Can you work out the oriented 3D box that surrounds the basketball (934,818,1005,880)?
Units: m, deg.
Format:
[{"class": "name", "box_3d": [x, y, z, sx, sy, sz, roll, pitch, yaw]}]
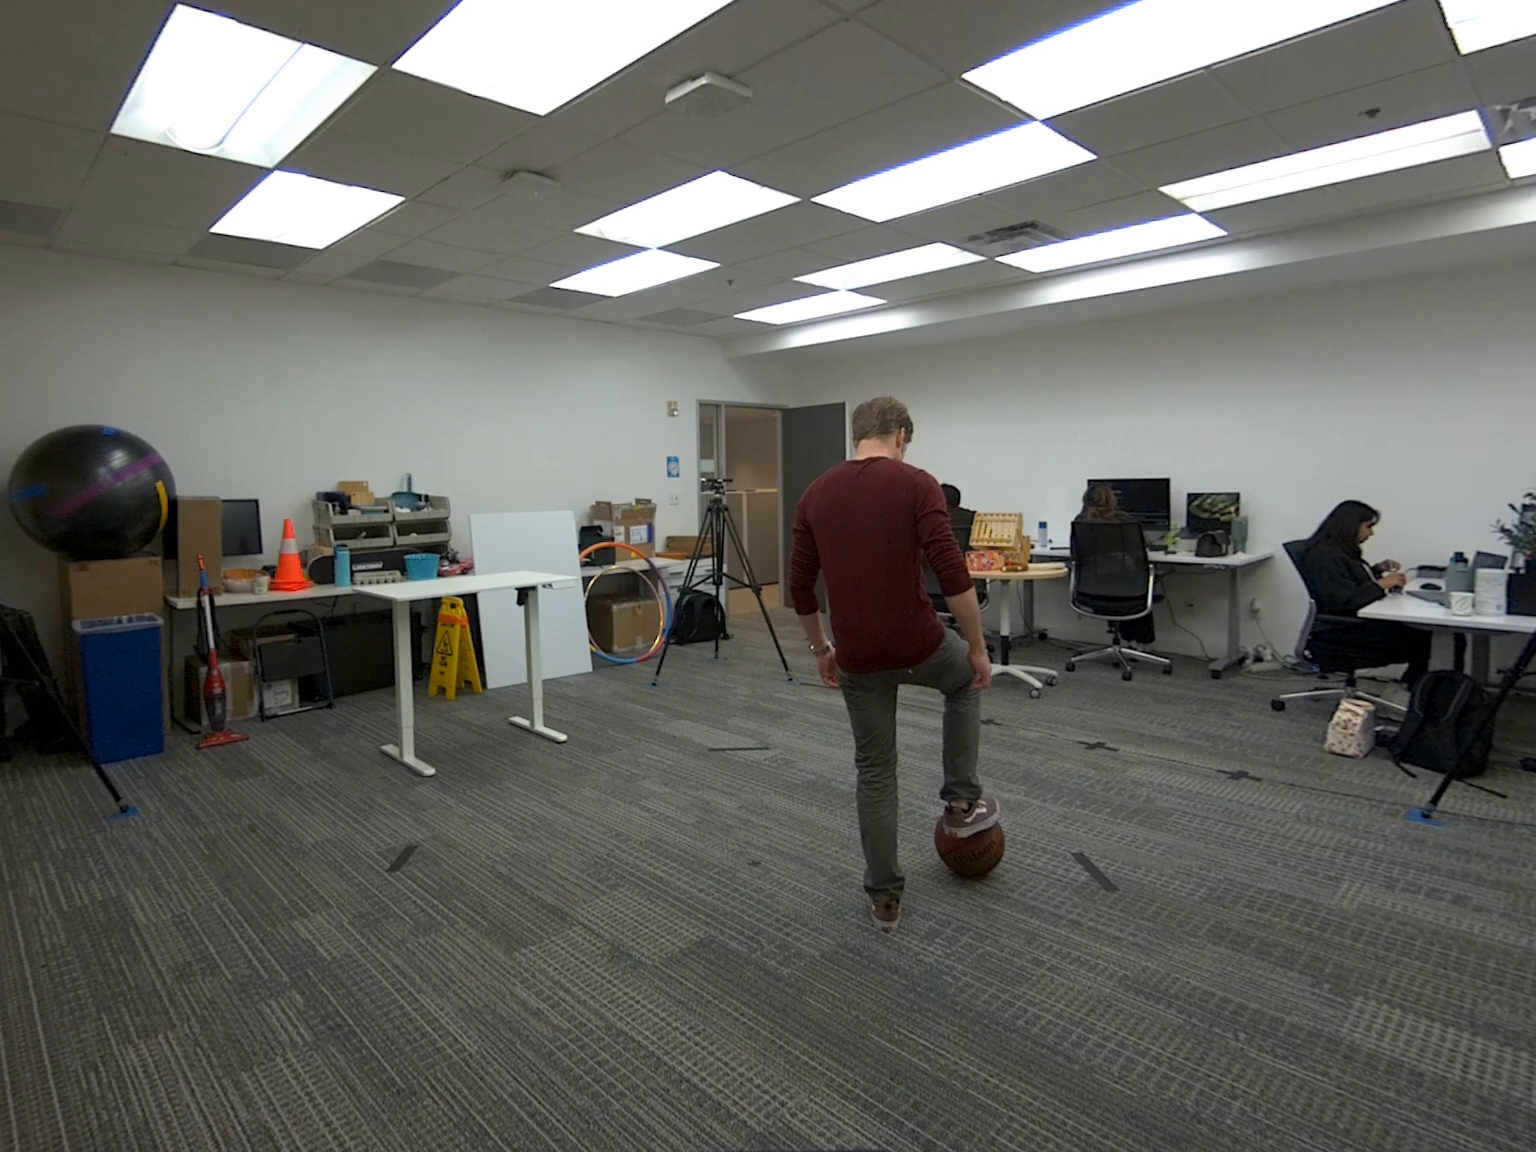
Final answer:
[{"class": "basketball", "box_3d": [0.709, 0.924, 3.004, 0.236, 0.235, 0.237, -1, 5, -2]}]
